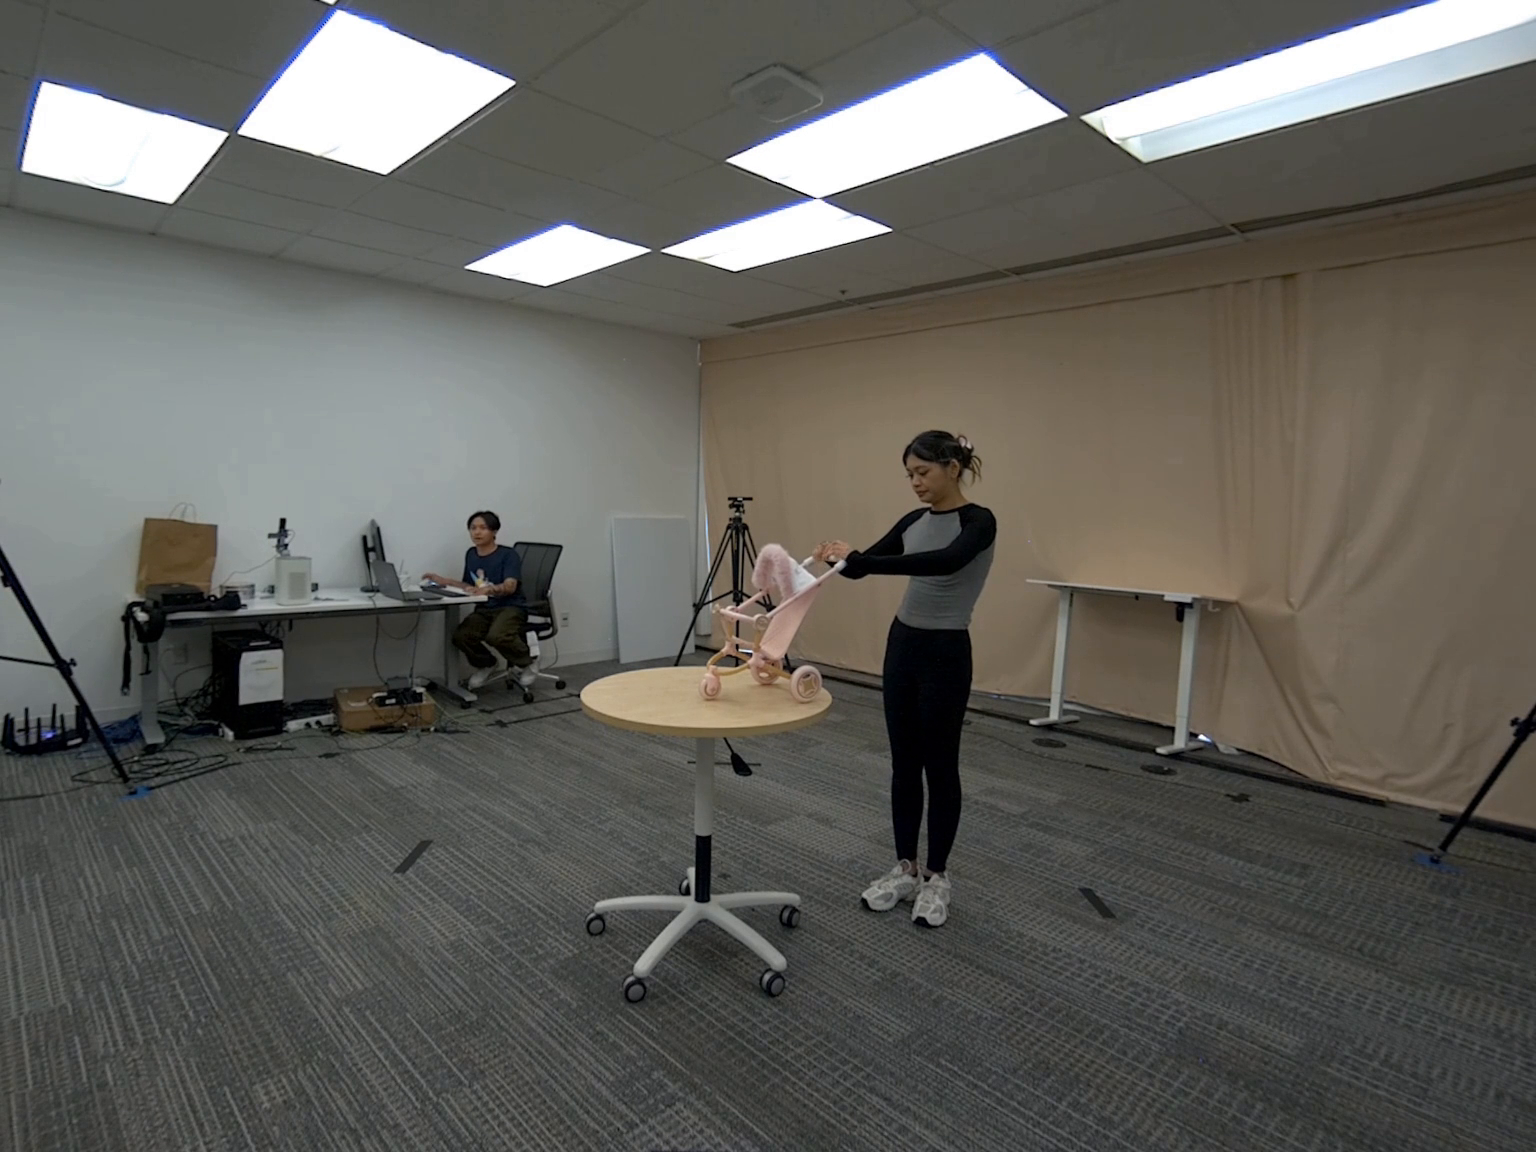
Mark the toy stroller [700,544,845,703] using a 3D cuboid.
[{"bbox_3d":[-0.004,0.144,2.563,0.334,0.536,0.287,15,-3,-23],"label":"toy stroller"}]
